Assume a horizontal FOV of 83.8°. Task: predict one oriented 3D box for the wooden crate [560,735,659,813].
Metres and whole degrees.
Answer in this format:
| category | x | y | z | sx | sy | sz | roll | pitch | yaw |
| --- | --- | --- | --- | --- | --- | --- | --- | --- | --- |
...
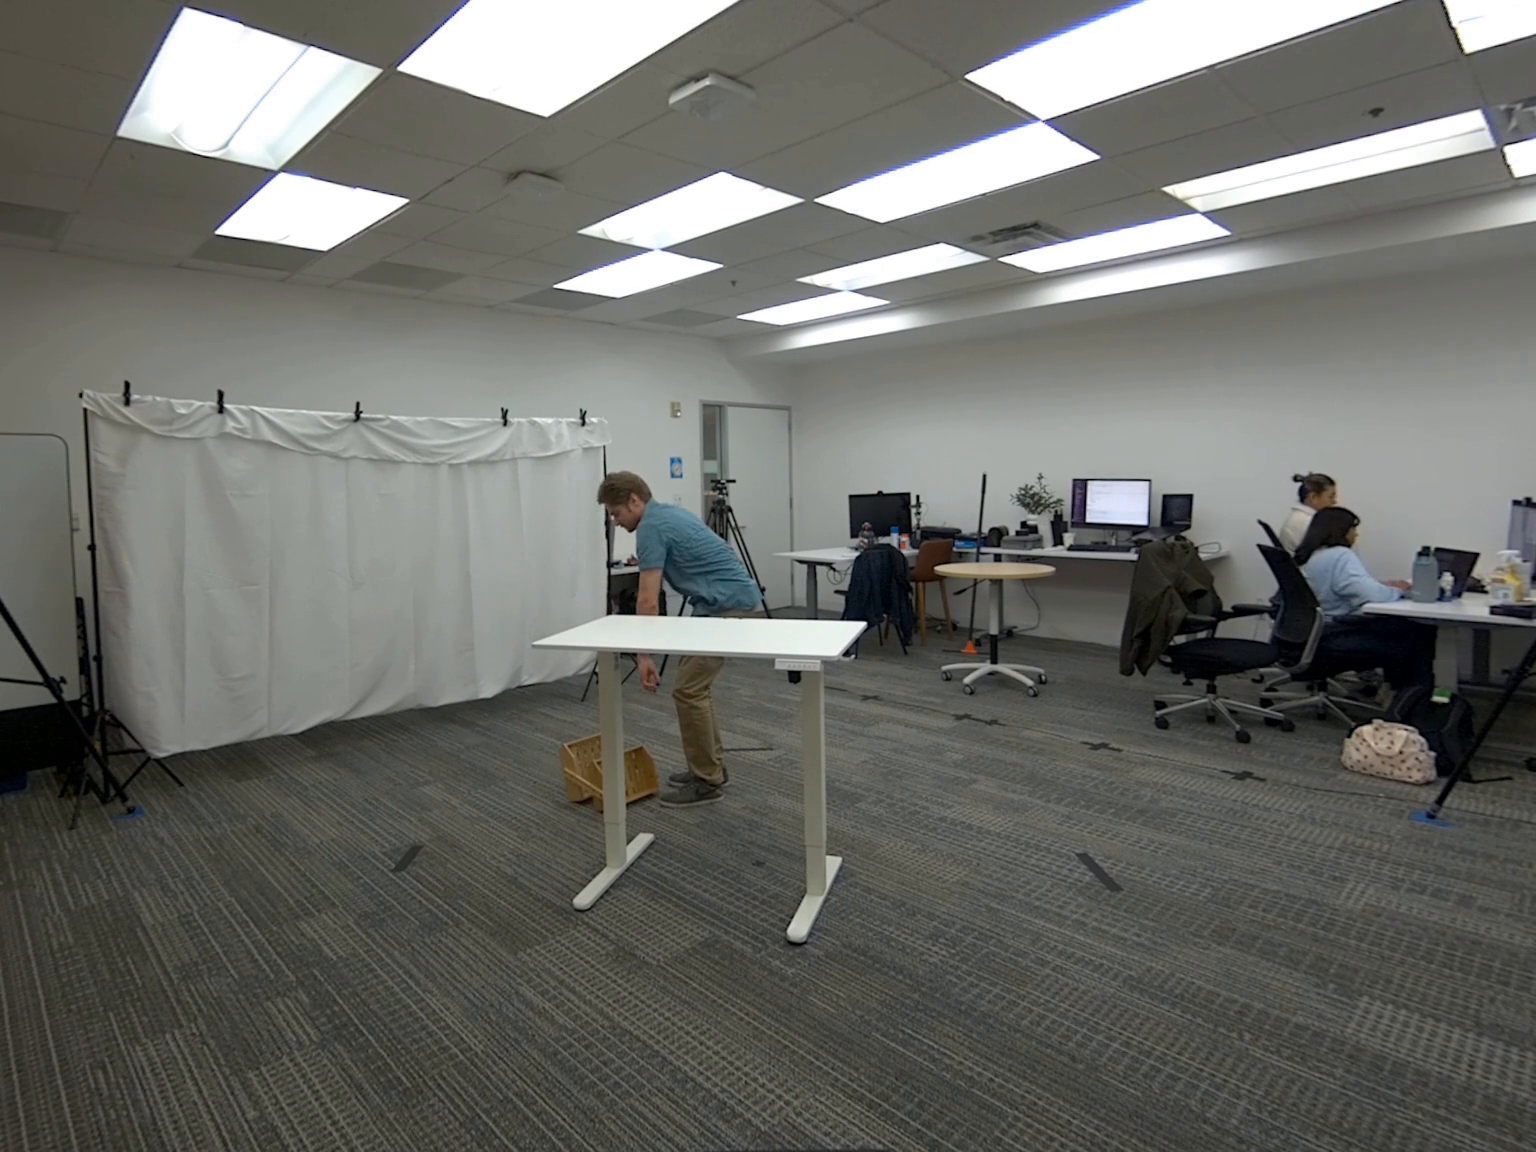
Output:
| category | x | y | z | sx | sy | sz | roll | pitch | yaw |
| --- | --- | --- | --- | --- | --- | --- | --- | --- | --- |
| wooden crate | -0.700 | 0.849 | 3.802 | 0.278 | 0.304 | 0.316 | -19 | -8 | 37 |
